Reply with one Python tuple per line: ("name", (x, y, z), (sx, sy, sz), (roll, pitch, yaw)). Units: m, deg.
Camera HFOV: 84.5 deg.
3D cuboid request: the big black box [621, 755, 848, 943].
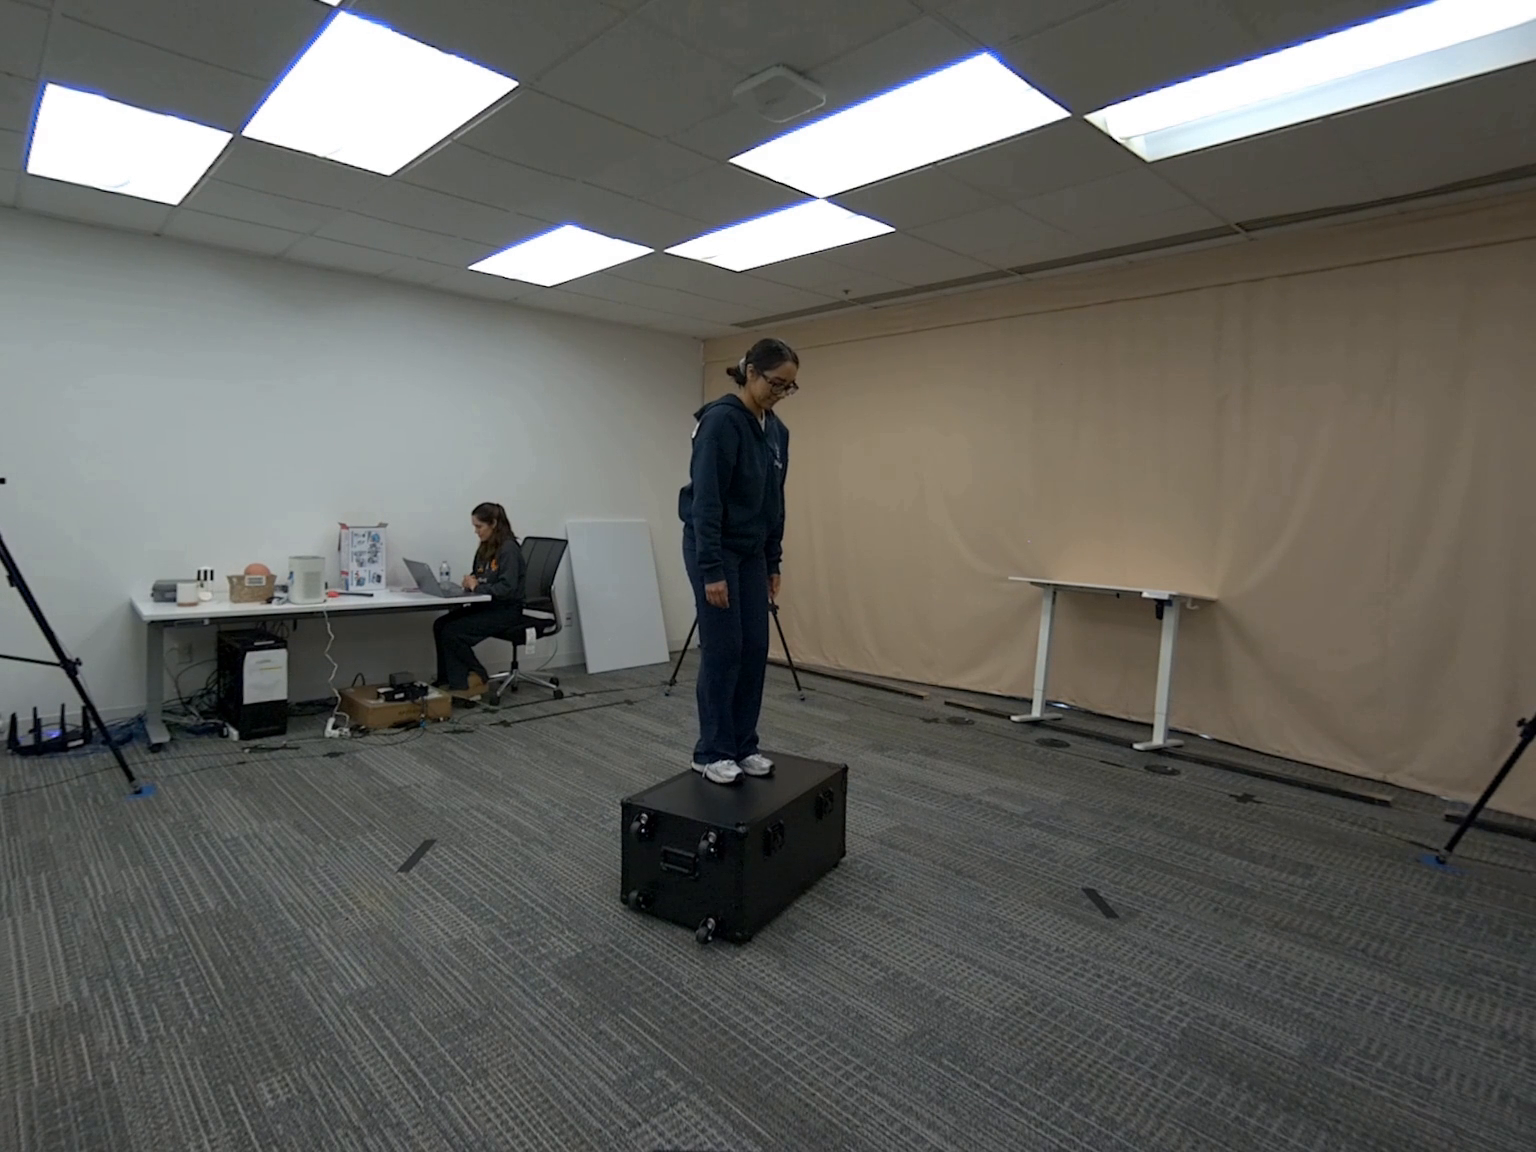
("big black box", (-0.121, 0.929, 3.004), (0.532, 0.395, 0.845), (4, 5, 29))
